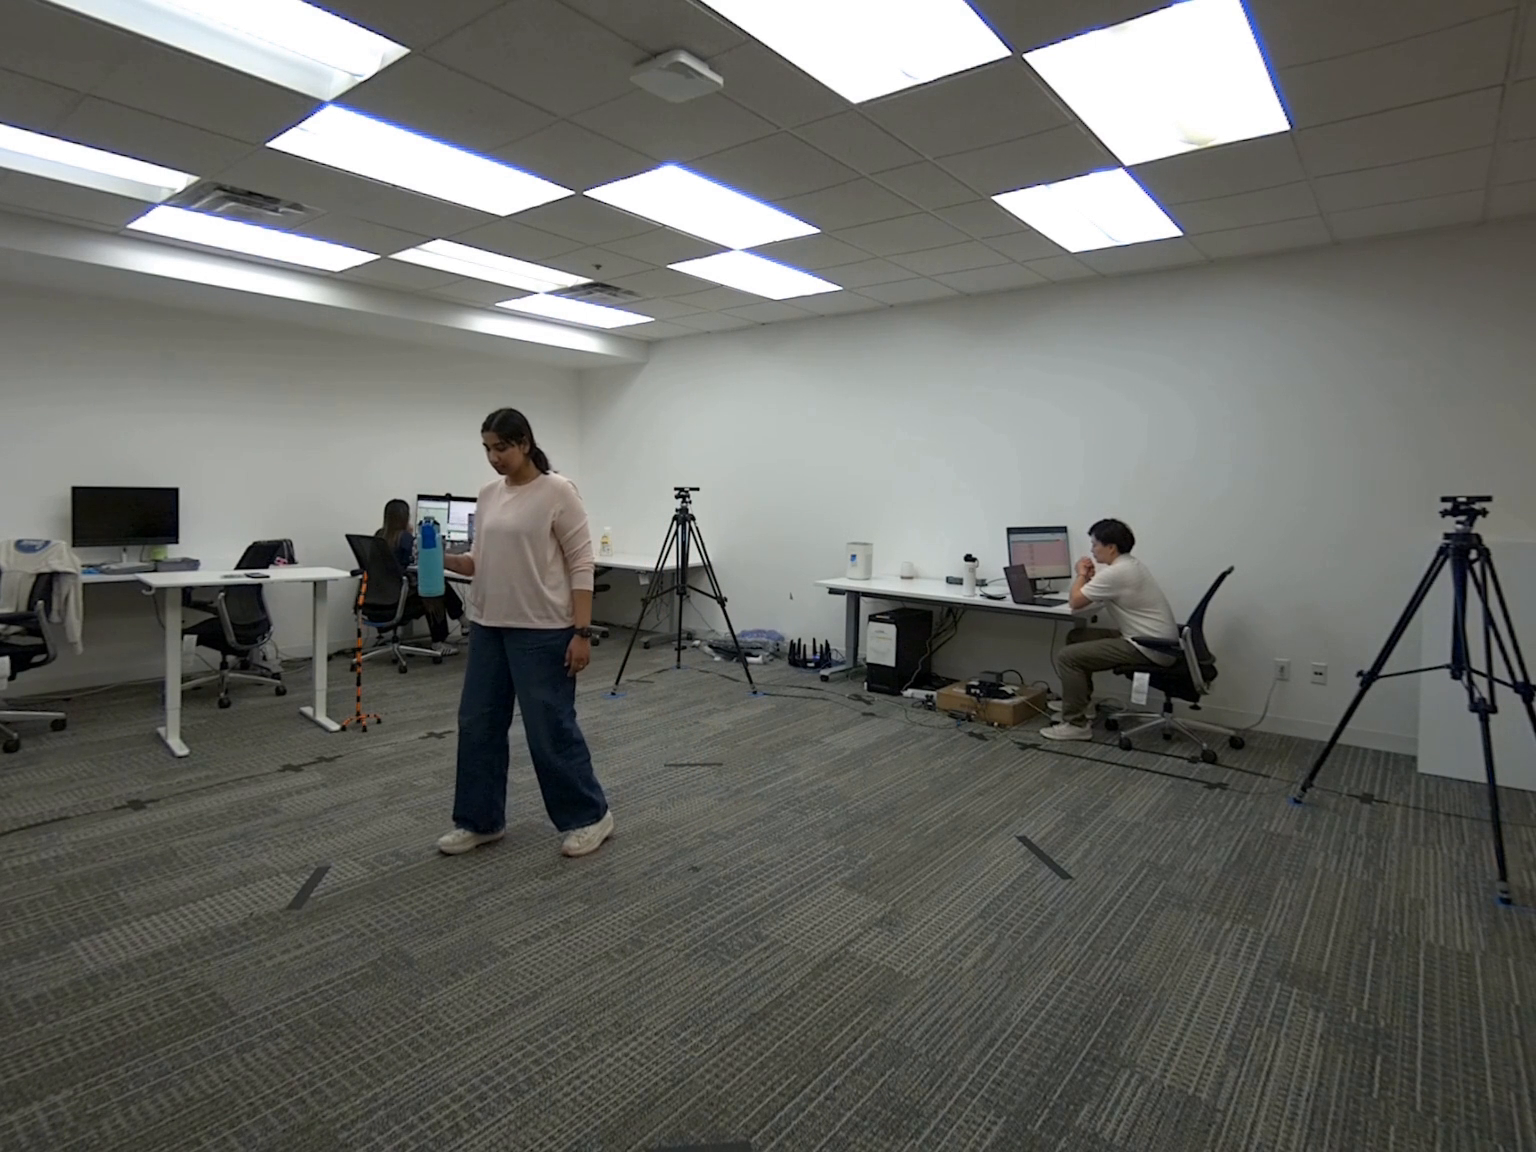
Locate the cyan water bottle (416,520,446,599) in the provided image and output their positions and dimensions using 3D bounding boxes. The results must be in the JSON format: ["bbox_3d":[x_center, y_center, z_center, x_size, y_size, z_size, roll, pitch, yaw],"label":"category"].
[{"bbox_3d":[-1.228,-0.076,3.064,0.092,0.281,0.093,2,9,-2],"label":"cyan water bottle"}]
